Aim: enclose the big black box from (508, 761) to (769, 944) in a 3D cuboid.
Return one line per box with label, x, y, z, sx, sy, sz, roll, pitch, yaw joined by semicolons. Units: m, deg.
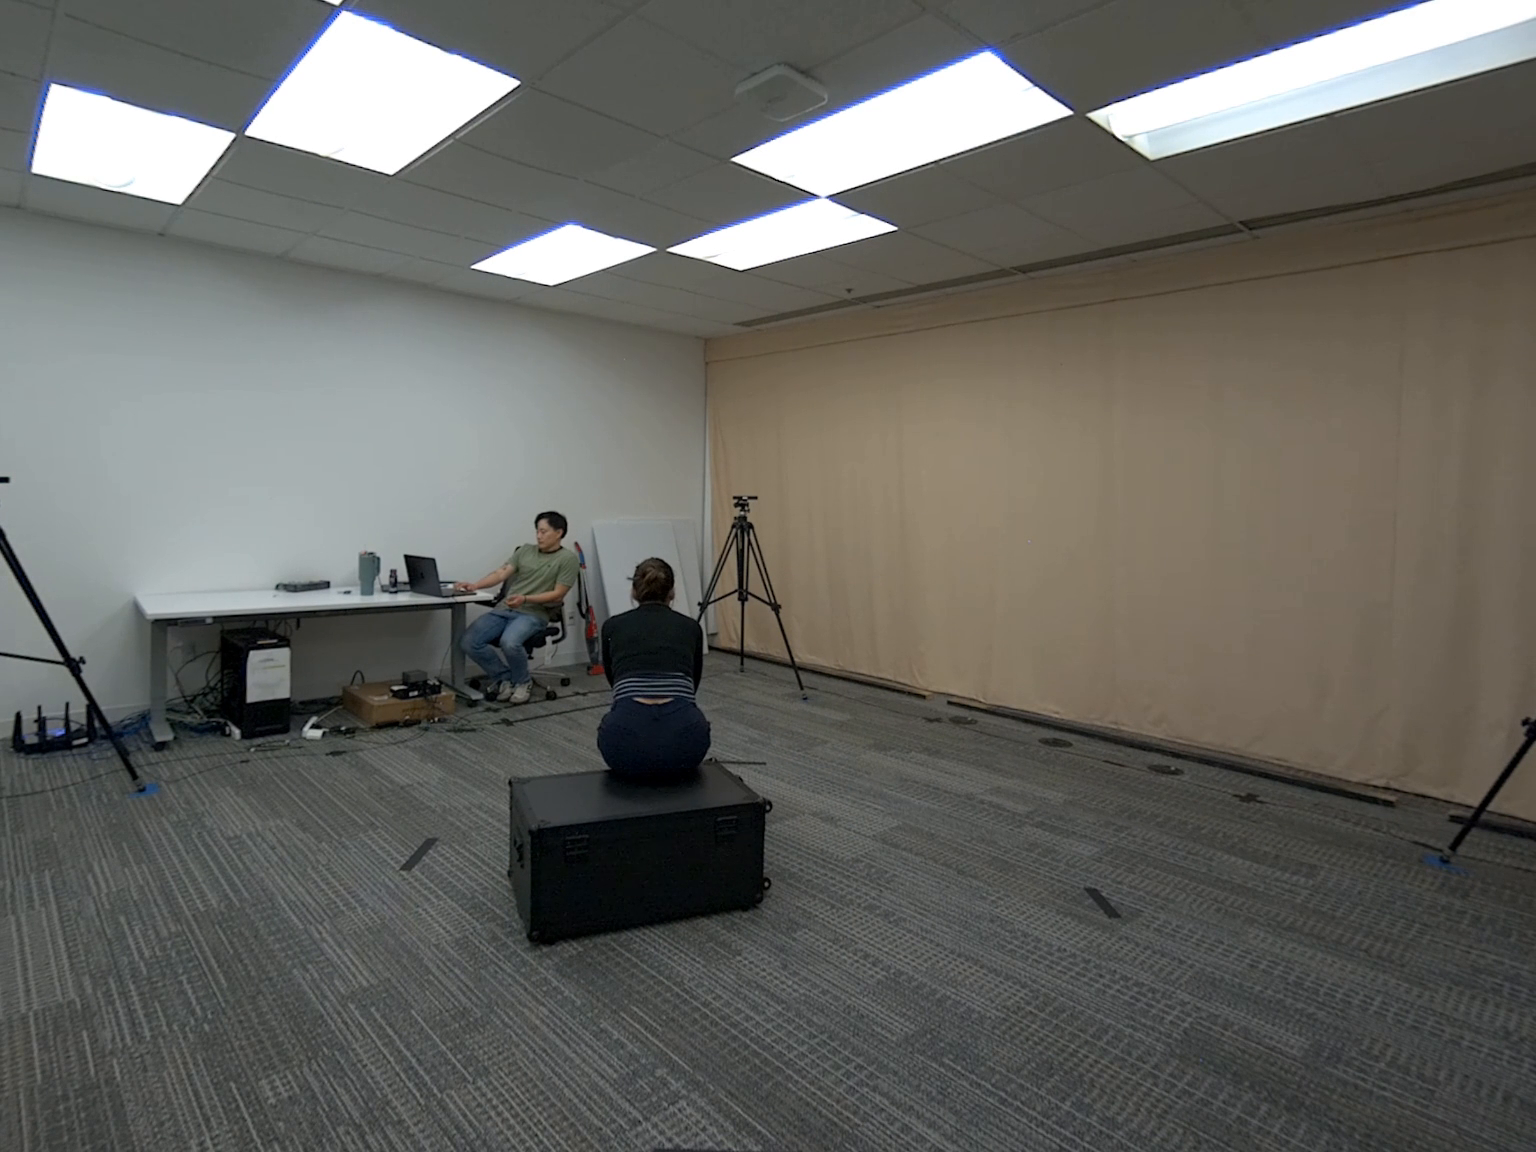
big black box;-0.496;0.924;2.898;0.847;0.395;0.532;-1;5;-24
